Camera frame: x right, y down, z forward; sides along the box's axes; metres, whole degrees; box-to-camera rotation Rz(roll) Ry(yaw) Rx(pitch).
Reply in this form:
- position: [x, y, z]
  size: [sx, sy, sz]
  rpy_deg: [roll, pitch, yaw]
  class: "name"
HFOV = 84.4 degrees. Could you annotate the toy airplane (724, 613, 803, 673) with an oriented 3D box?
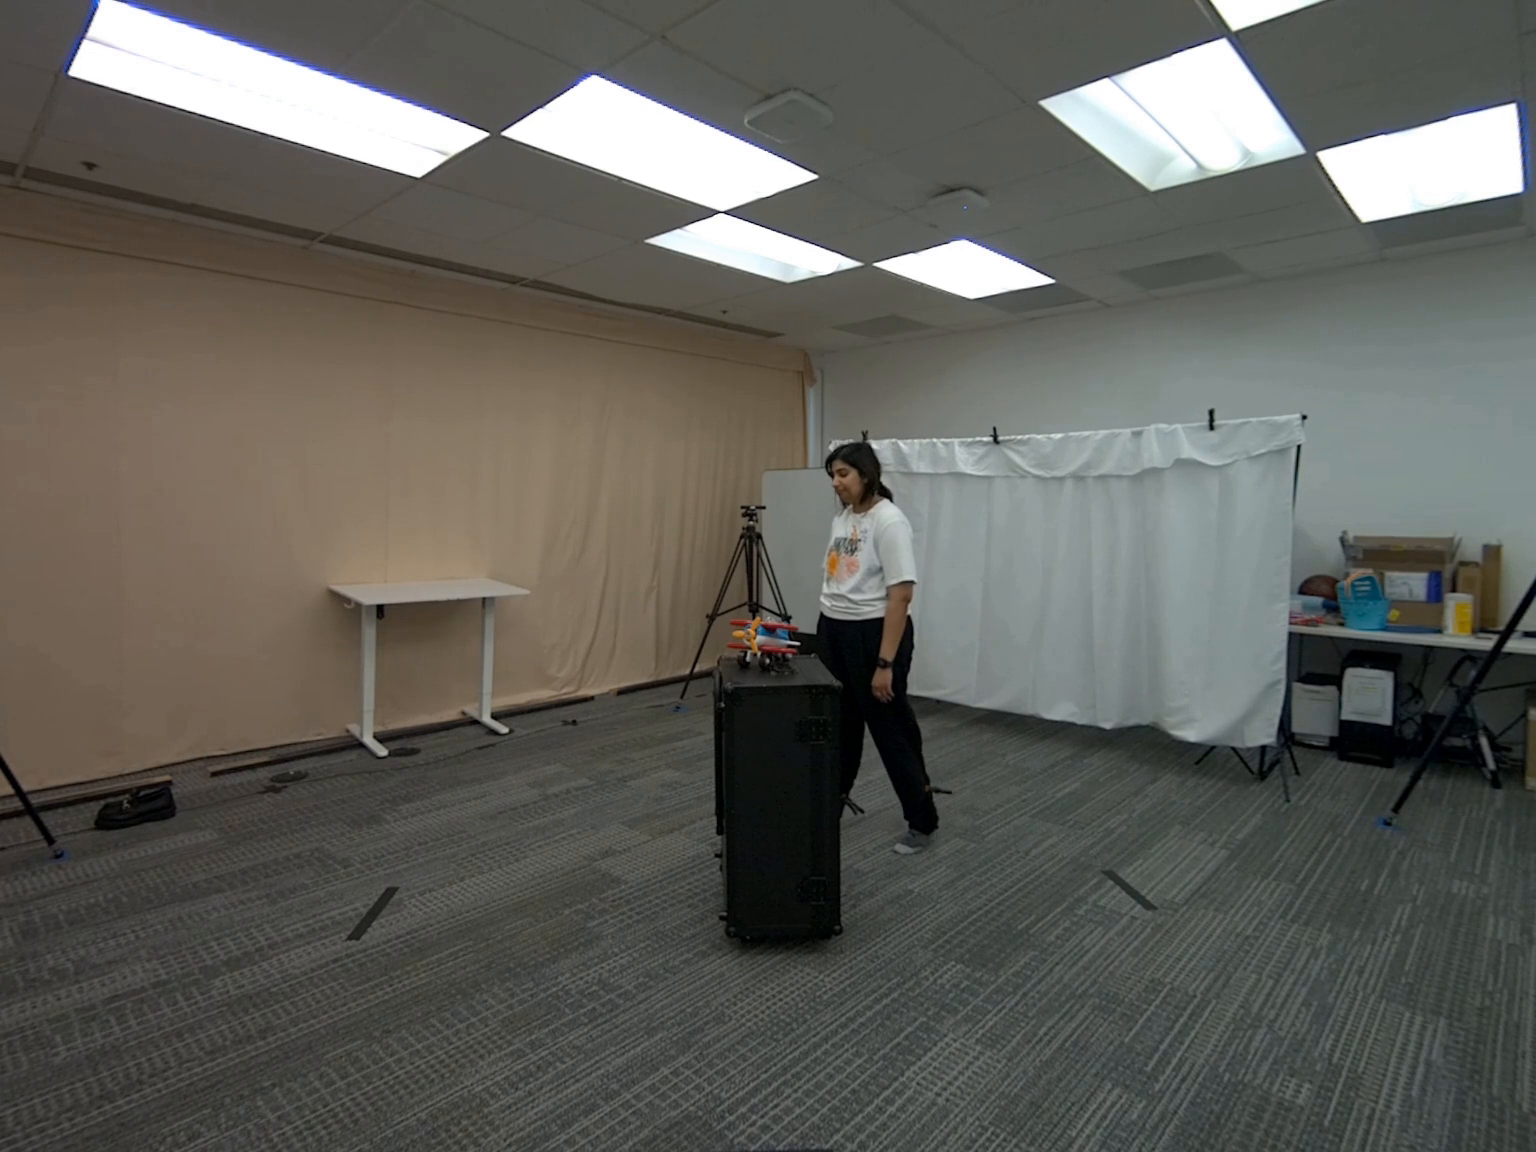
- position: [-0.013, 0.222, 2.889]
  size: [0.253, 0.156, 0.258]
  rpy_deg: [0, 5, 5]
  class: "toy airplane"
